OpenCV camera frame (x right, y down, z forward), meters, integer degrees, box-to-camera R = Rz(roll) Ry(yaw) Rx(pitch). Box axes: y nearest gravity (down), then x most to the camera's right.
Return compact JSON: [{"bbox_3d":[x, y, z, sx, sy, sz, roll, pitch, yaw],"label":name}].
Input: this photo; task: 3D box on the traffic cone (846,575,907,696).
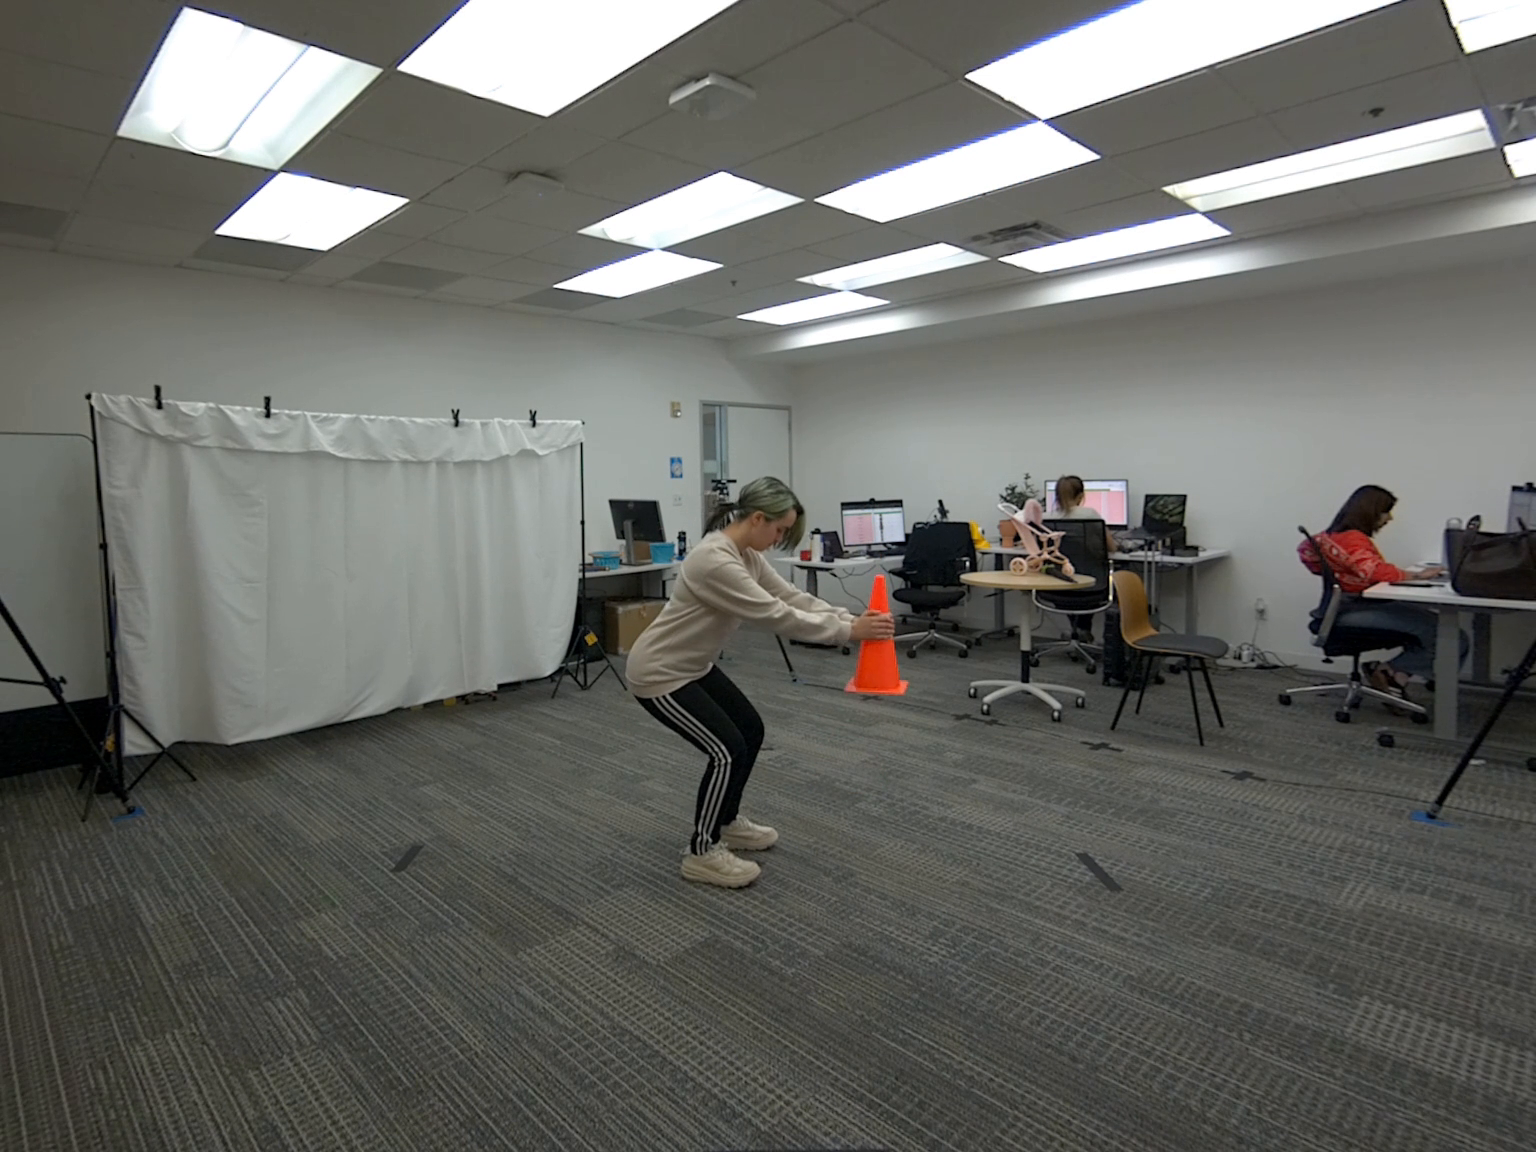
[{"bbox_3d":[0.369,0.194,2.925,0.207,0.382,0.202,2,5,18],"label":"traffic cone"}]
